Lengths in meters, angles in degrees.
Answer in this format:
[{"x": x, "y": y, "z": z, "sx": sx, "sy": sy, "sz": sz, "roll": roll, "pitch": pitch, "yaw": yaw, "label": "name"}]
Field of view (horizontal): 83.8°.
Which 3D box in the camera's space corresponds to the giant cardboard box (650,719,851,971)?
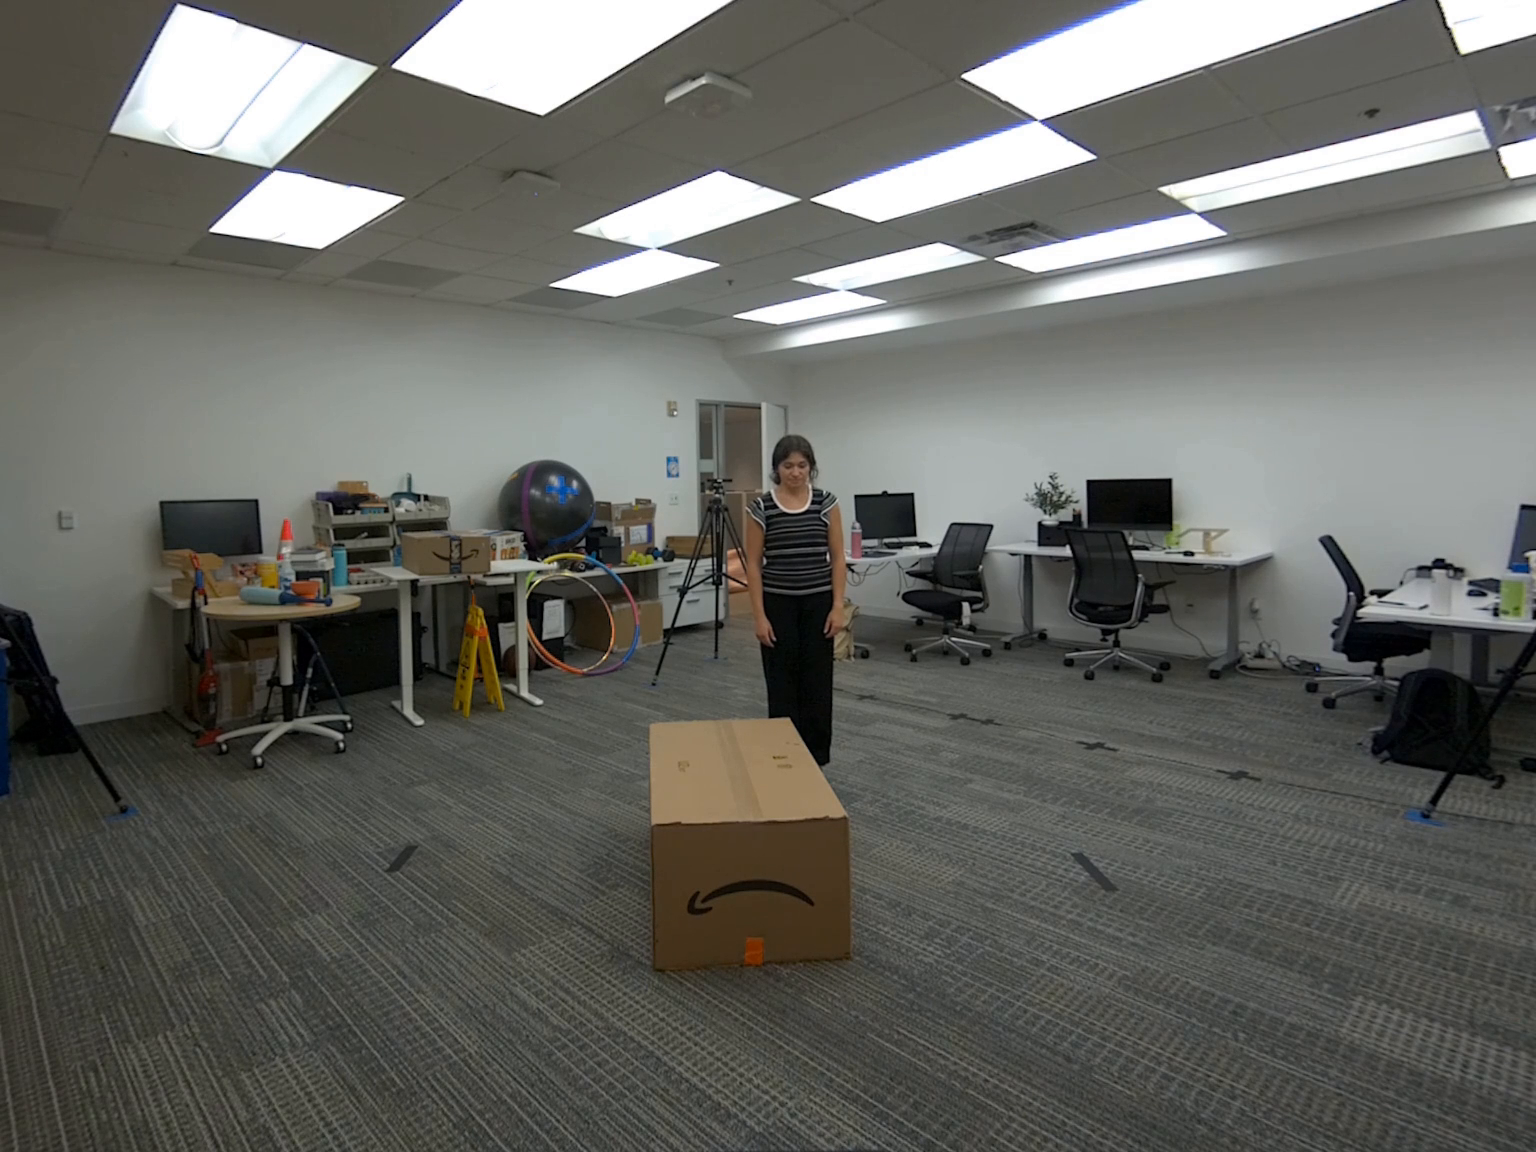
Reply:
[{"x": -0.117, "y": 0.851, "z": 2.949, "sx": 0.574, "sy": 0.424, "sz": 1.037, "roll": -1, "pitch": 6, "yaw": -7, "label": "giant cardboard box"}]
